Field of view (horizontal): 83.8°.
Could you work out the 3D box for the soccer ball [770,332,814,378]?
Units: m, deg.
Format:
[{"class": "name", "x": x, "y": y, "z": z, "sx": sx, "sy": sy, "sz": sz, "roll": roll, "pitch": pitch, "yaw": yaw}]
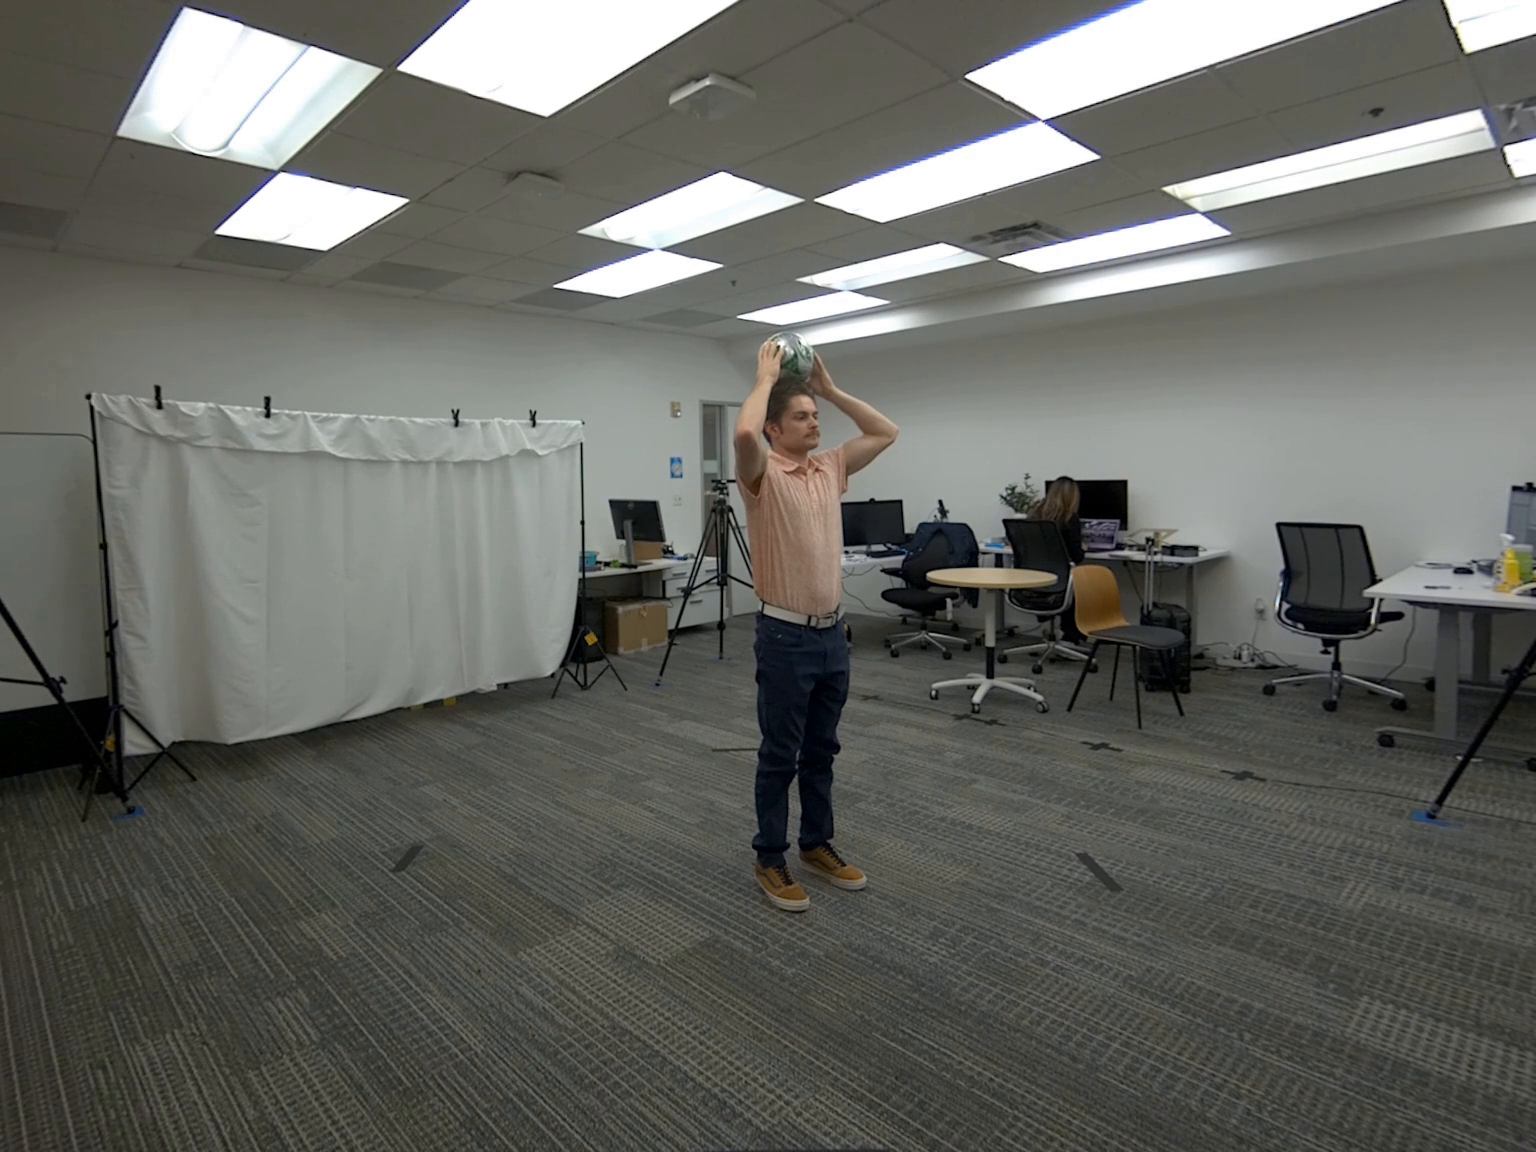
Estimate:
[{"class": "soccer ball", "x": 0.066, "y": -0.723, "z": 2.891, "sx": 0.187, "sy": 0.187, "sz": 0.188, "roll": -1, "pitch": 5, "yaw": -2}]
